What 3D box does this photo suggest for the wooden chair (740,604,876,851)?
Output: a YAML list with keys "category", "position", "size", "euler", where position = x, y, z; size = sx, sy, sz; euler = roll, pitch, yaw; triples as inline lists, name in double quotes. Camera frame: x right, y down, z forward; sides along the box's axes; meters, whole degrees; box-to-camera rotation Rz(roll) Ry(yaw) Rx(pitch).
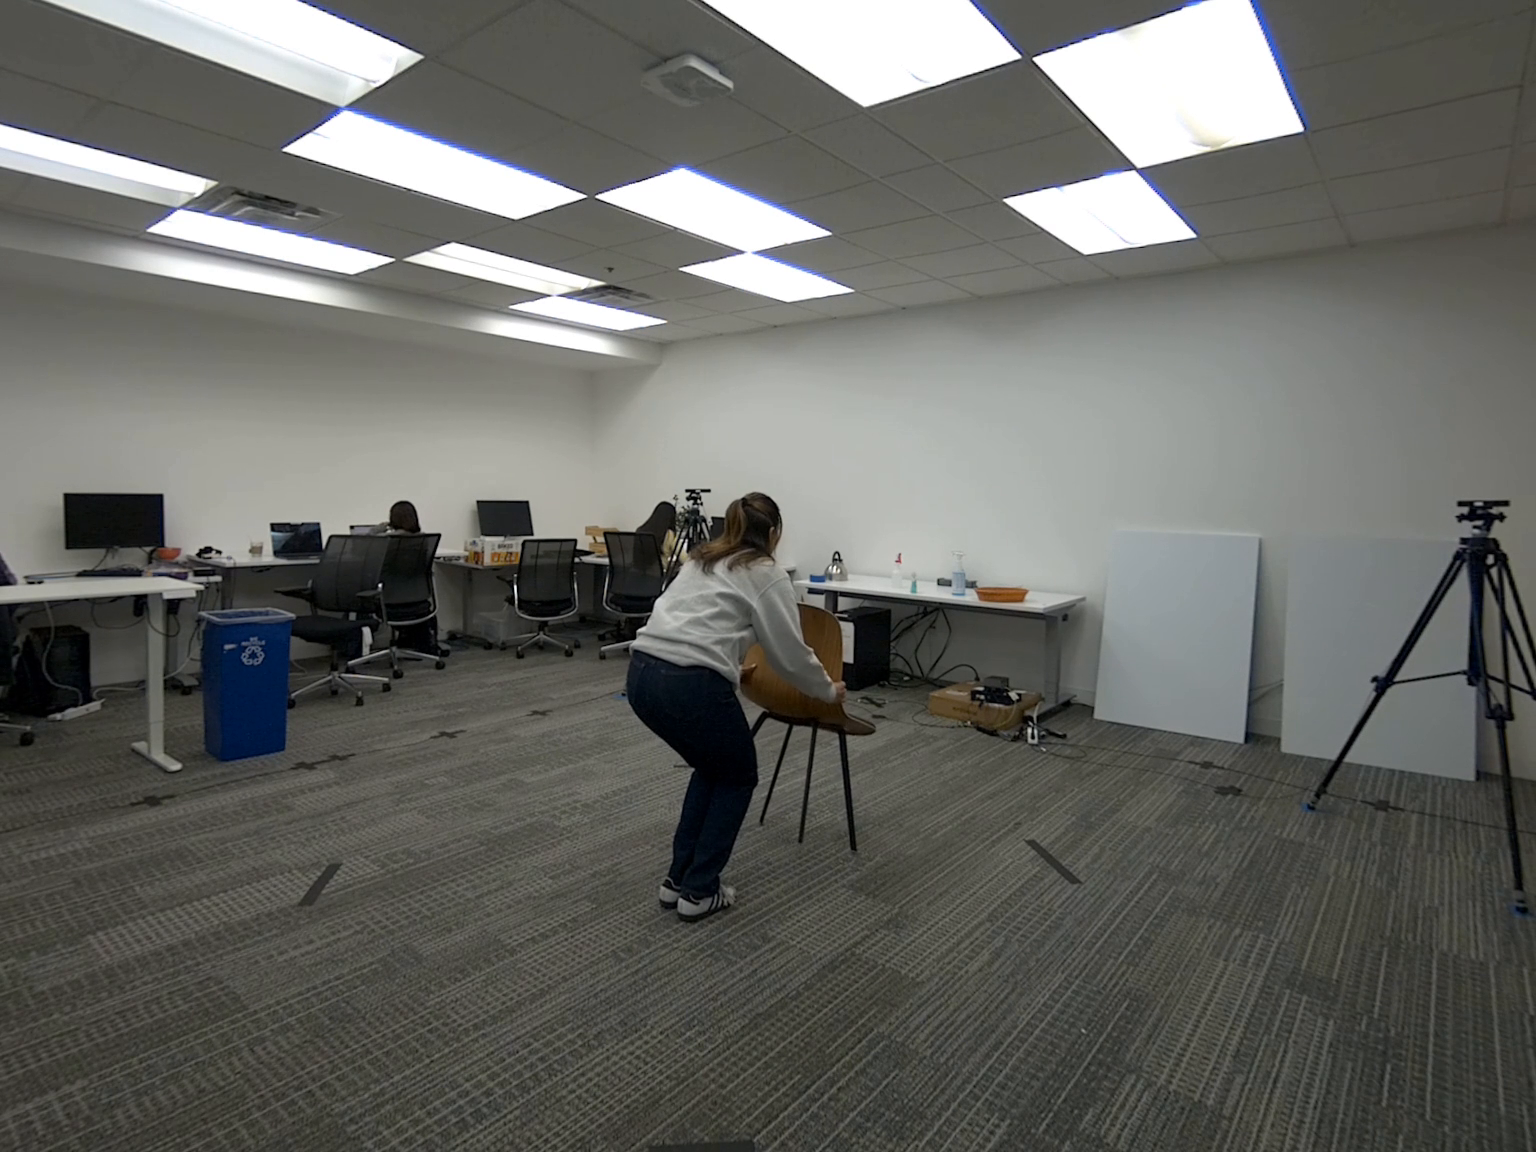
- category: "wooden chair"
  position: [0.125, 0.581, 3.369]
  size: [0.493, 0.884, 0.502]
  euler: [3, -13, 35]
